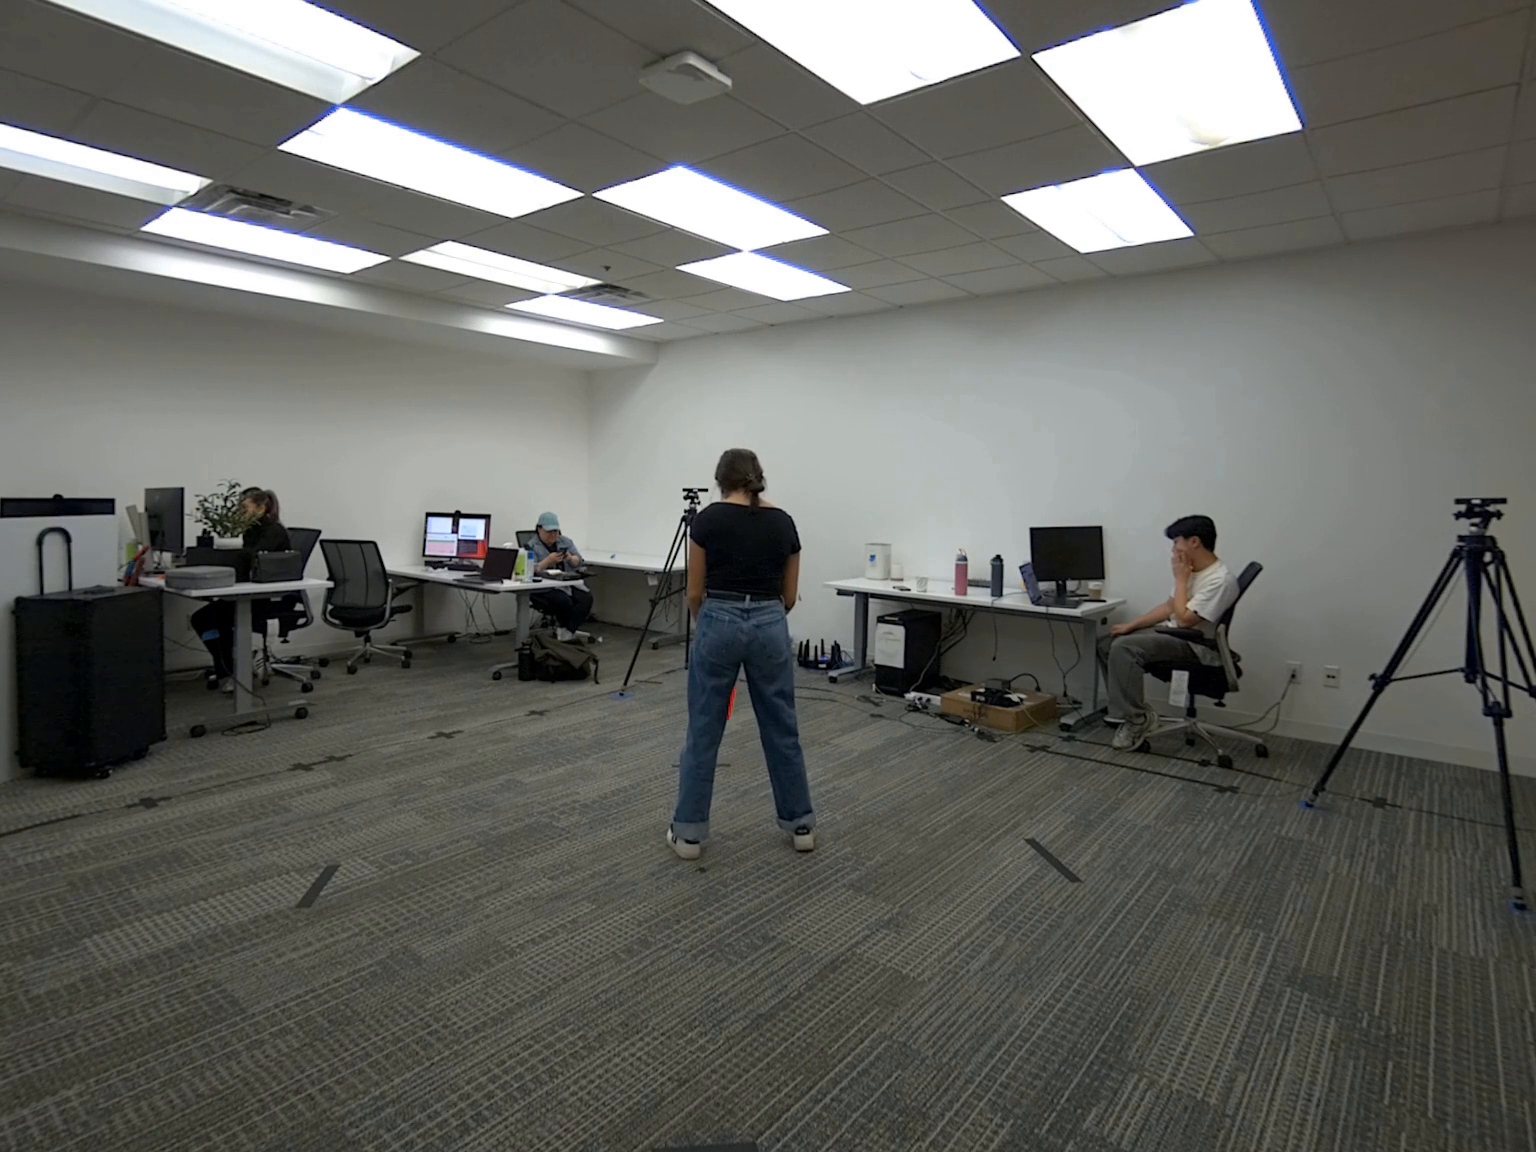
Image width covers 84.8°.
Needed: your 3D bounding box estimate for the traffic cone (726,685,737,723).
[{"bbox_3d":[-0.160,0.395,3.508,0.196,0.388,0.210,11,-15,-37],"label":"traffic cone"}]
